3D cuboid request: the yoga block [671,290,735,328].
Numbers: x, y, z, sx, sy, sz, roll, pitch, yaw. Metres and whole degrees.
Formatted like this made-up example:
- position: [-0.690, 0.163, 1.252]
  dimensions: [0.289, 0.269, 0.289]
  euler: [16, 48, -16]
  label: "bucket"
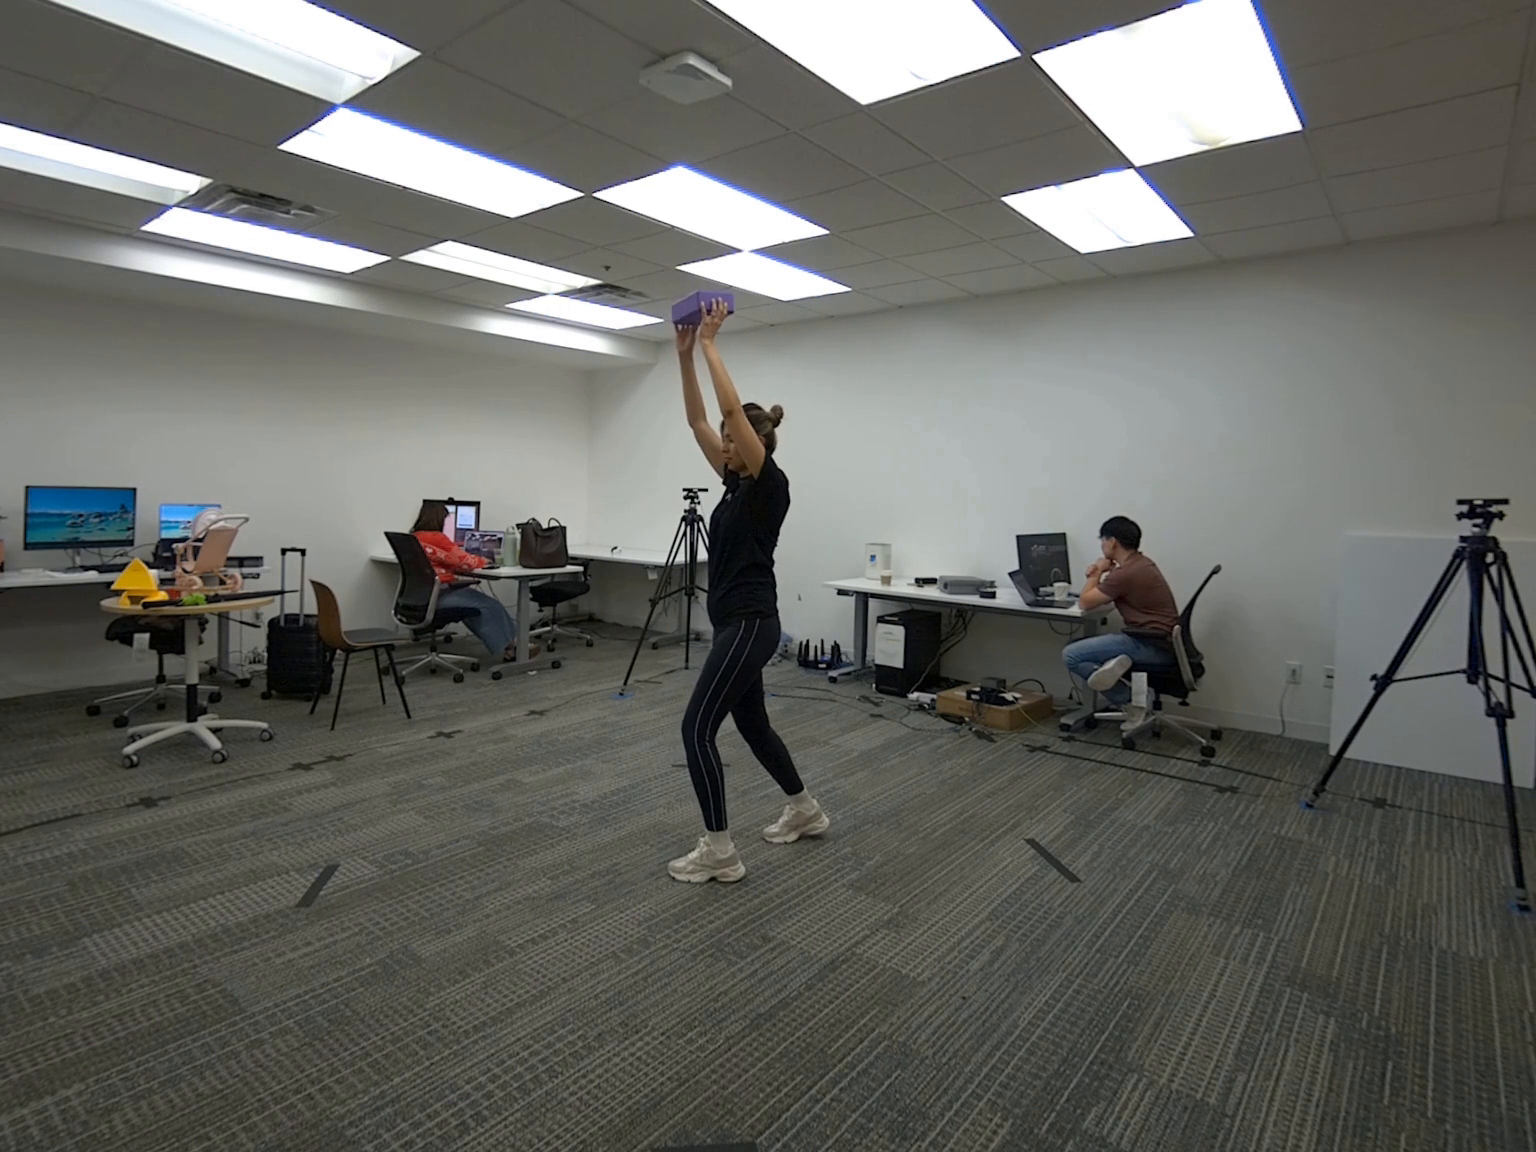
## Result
- position: [-0.251, -0.973, 3.065]
  dimensions: [0.145, 0.076, 0.236]
  euler: [-8, 7, -28]
  label: "yoga block"
